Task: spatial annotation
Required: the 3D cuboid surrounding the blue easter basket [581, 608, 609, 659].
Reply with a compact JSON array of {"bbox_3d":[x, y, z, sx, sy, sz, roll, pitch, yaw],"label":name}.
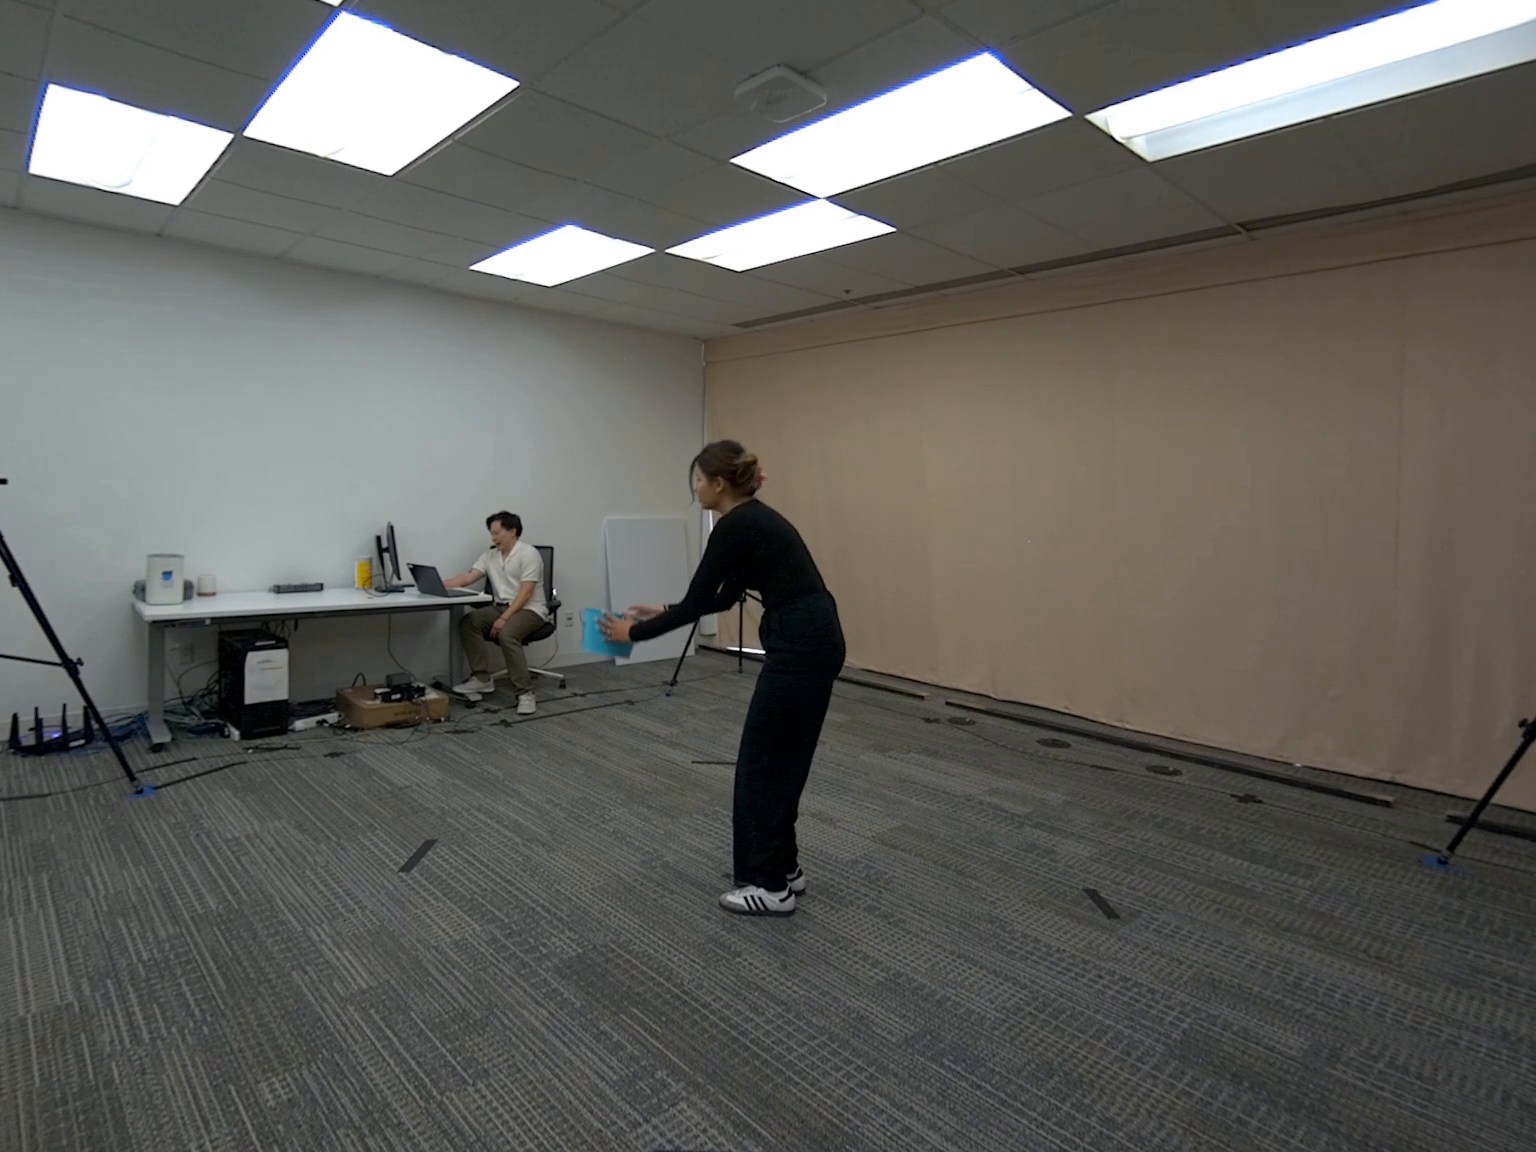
[{"bbox_3d":[-0.773,0.208,3.127,0.243,0.156,0.243,11,-3,-1],"label":"blue easter basket"}]
